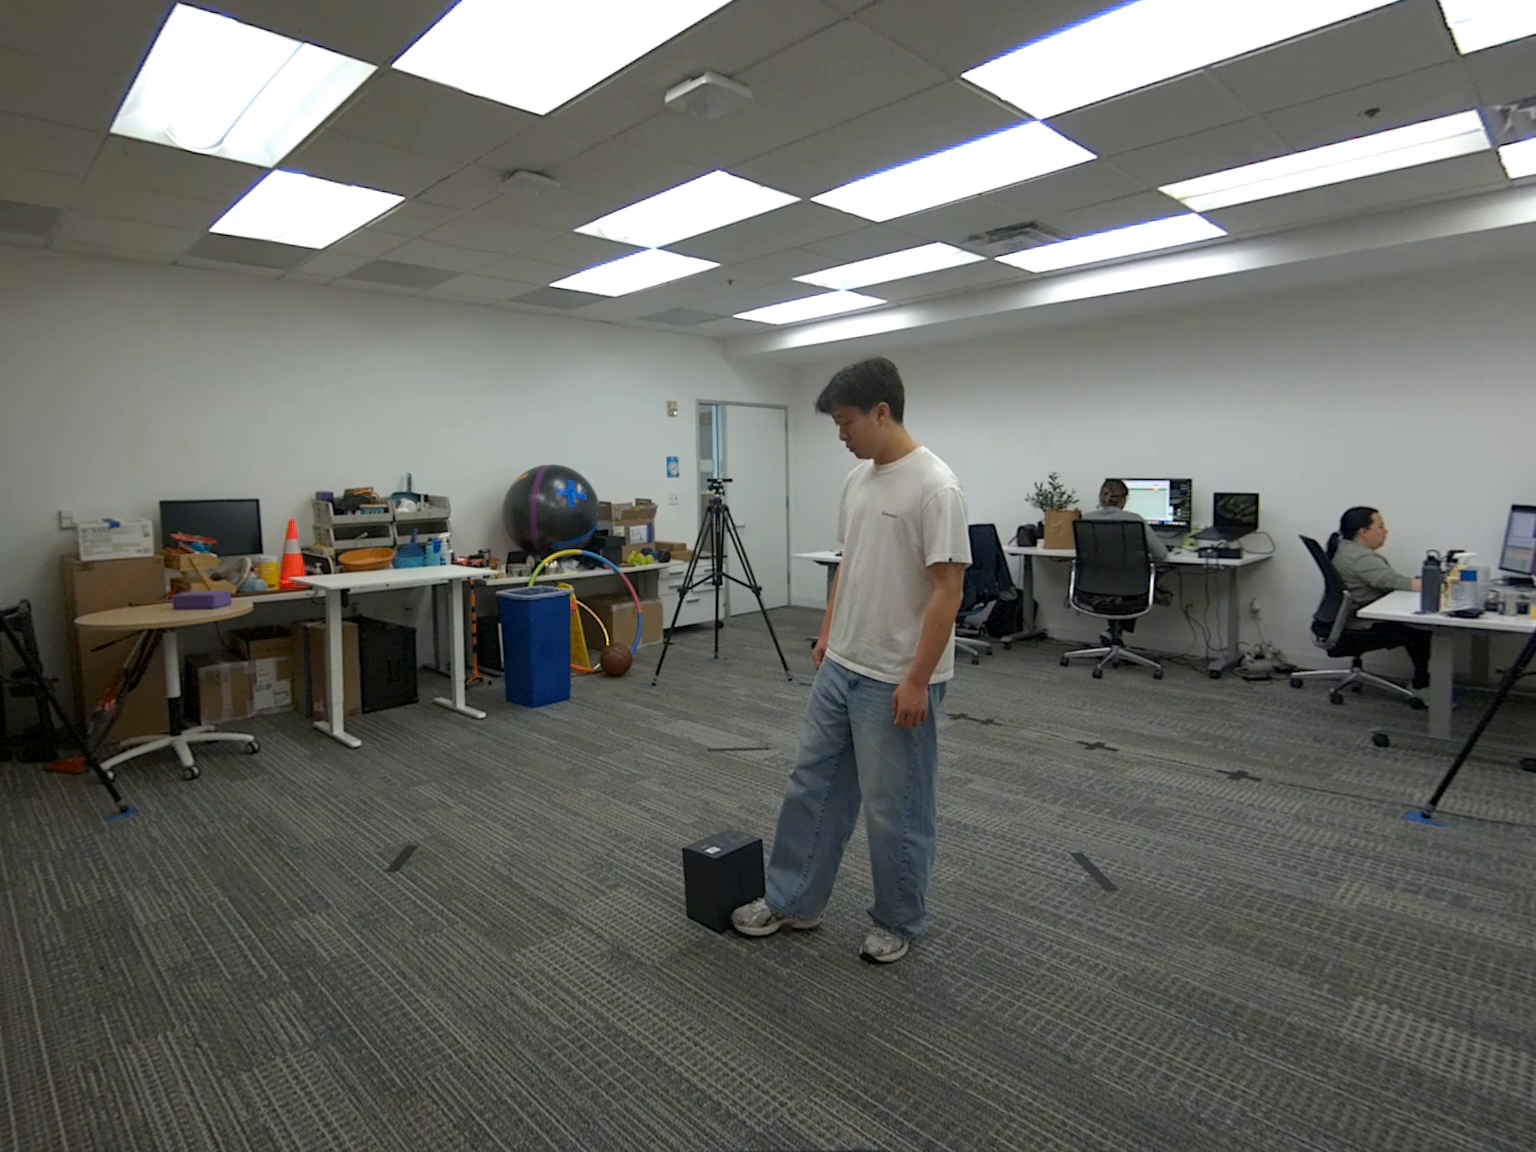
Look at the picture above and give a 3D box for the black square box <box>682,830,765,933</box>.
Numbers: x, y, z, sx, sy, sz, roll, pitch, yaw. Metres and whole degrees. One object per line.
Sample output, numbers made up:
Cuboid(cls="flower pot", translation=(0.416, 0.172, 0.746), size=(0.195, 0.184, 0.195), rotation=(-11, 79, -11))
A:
Cuboid(cls="black square box", translation=(-0.130, 0.968, 2.737), size=(0.211, 0.227, 0.160), rotation=(-6, 4, -45))
